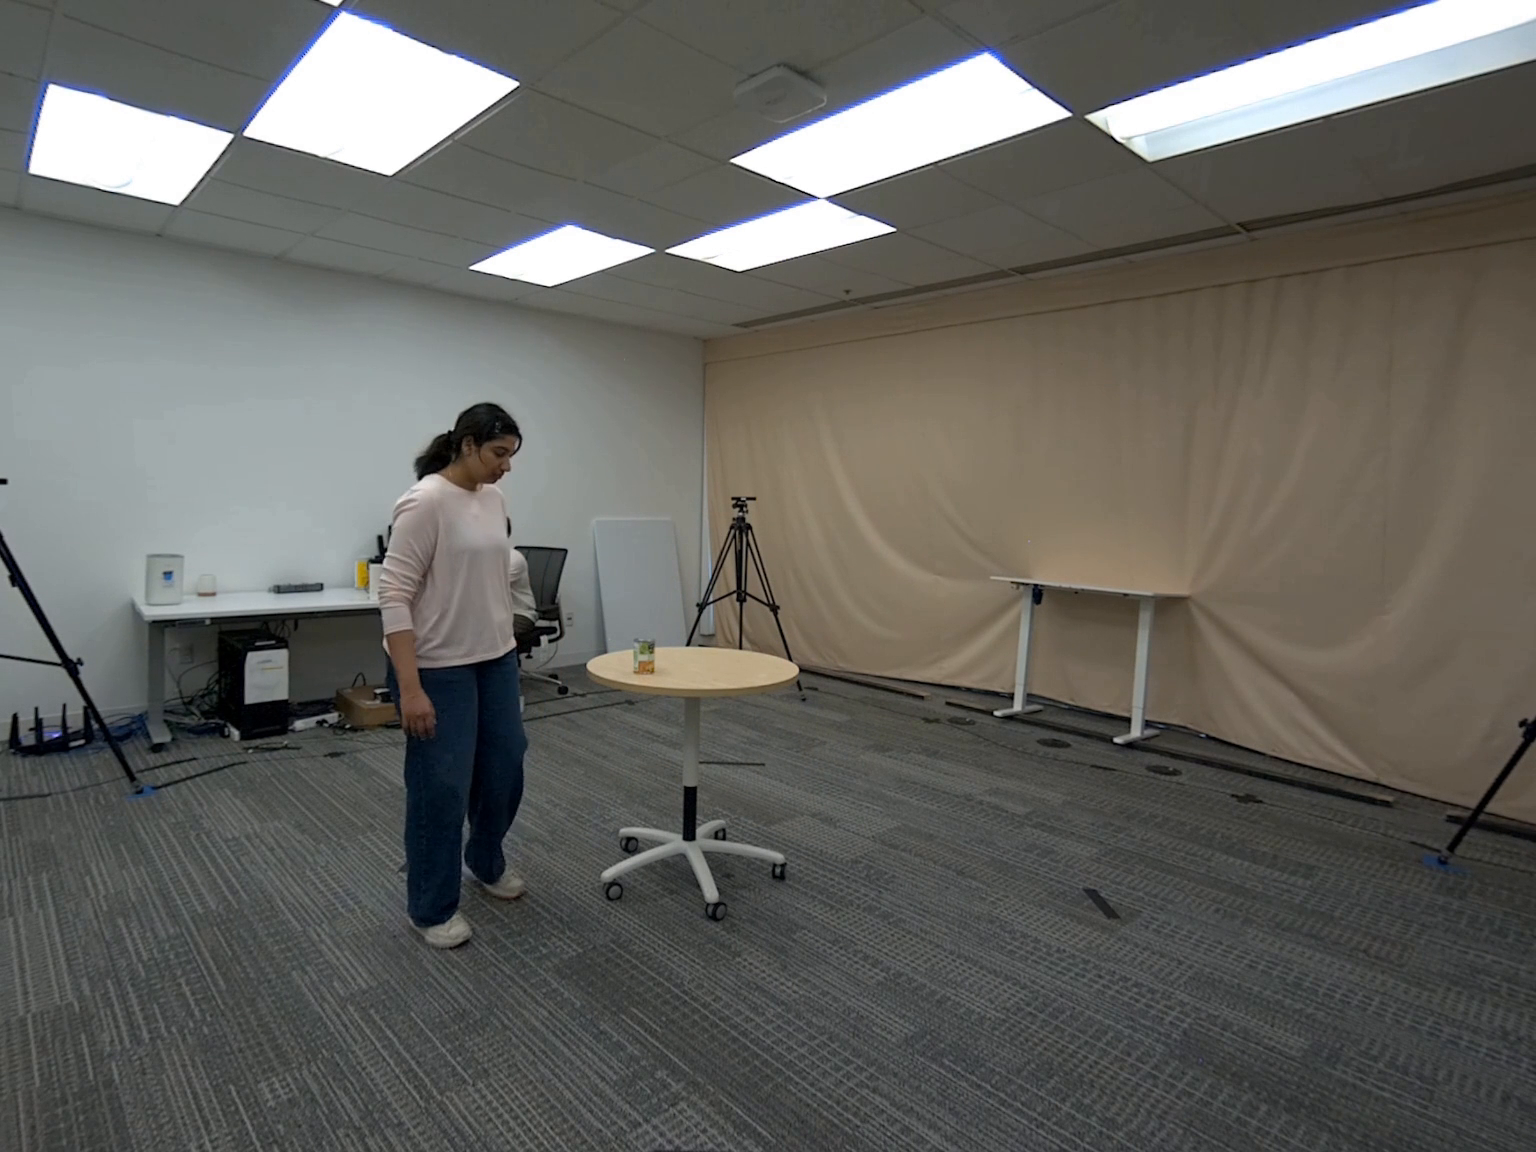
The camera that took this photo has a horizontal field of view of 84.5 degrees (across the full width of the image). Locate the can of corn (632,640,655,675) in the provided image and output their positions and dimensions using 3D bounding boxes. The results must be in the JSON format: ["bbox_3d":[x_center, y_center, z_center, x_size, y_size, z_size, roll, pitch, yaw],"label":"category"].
[{"bbox_3d":[-0.434,0.279,2.893,0.074,0.111,0.074,2,4,-2],"label":"can of corn"}]
